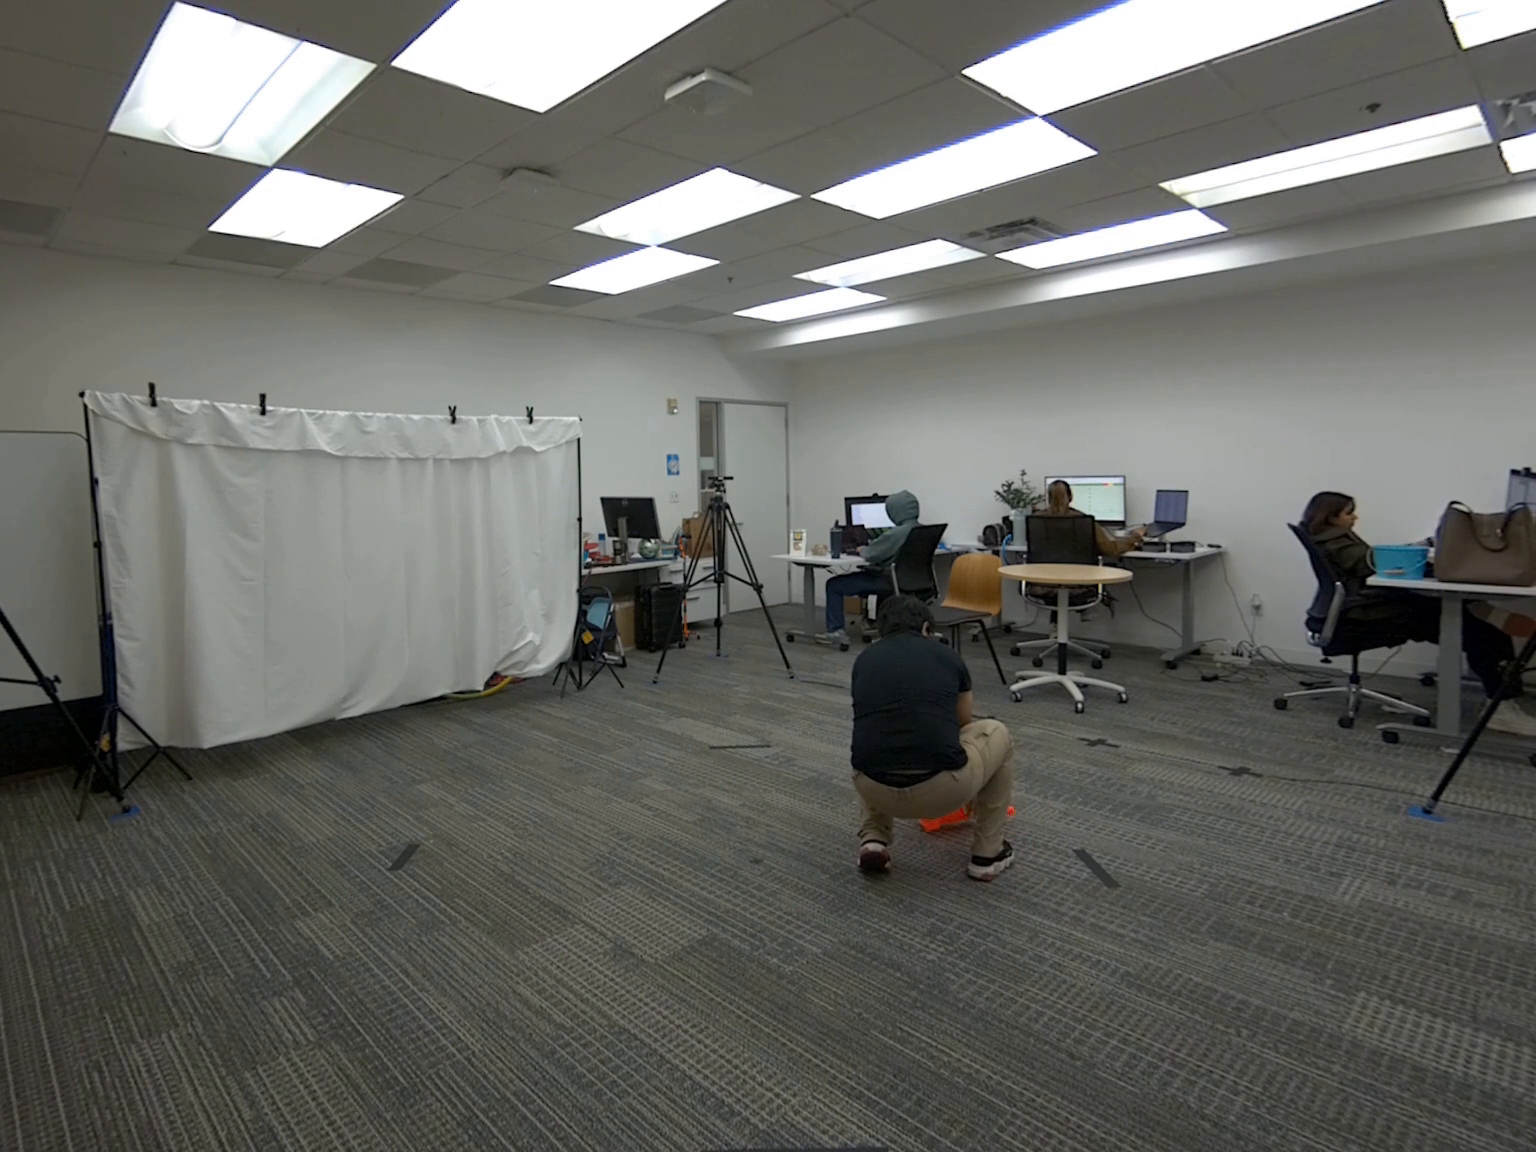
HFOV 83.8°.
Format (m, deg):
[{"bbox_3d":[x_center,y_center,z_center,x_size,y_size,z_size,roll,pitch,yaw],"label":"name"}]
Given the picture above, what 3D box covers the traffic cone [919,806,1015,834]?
[{"bbox_3d":[0.805,0.918,3.375,0.380,0.208,0.202,6,-30,-8],"label":"traffic cone"}]
